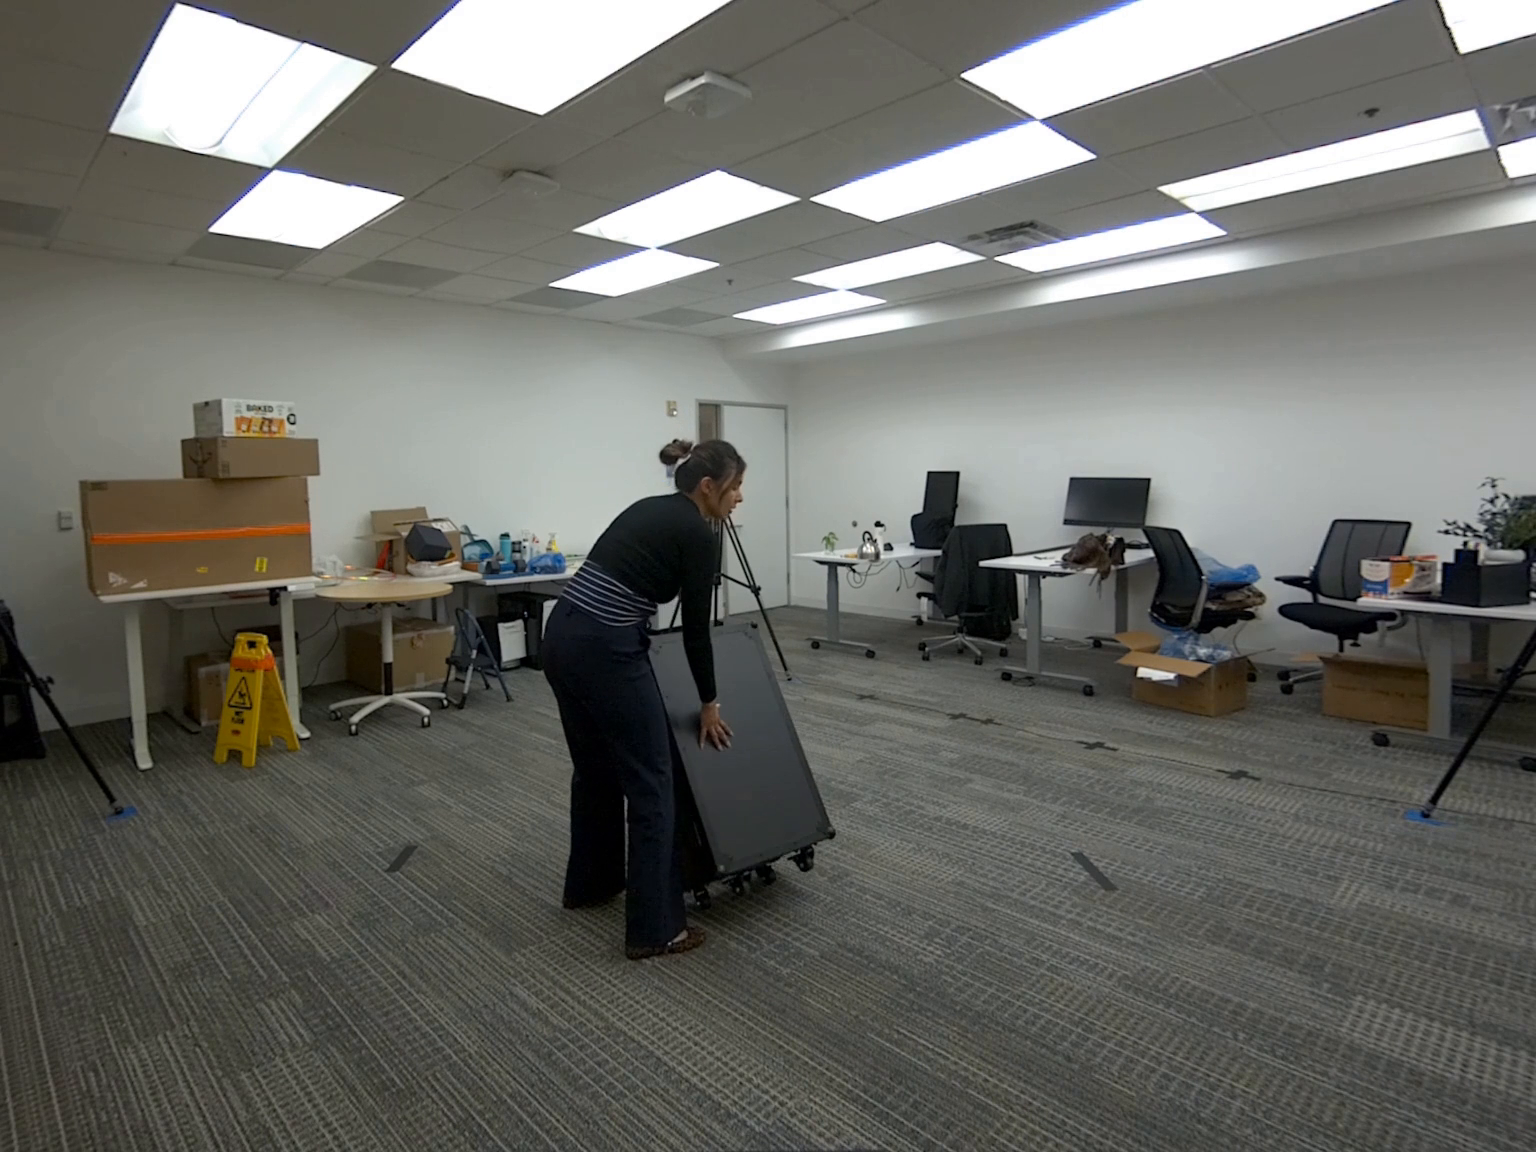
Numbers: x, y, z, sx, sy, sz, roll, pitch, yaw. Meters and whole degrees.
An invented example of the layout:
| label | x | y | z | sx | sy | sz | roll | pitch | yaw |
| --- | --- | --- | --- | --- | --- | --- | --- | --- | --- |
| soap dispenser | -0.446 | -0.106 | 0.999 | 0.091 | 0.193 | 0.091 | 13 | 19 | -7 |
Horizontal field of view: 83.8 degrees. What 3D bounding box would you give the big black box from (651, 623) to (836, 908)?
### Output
| label | x | y | z | sx | sy | sz | roll | pitch | yaw |
| --- | --- | --- | --- | --- | --- | --- | --- | --- | --- |
| big black box | -0.197 | 0.587 | 2.977 | 0.508 | 0.882 | 0.397 | -4 | -25 | -37 |
